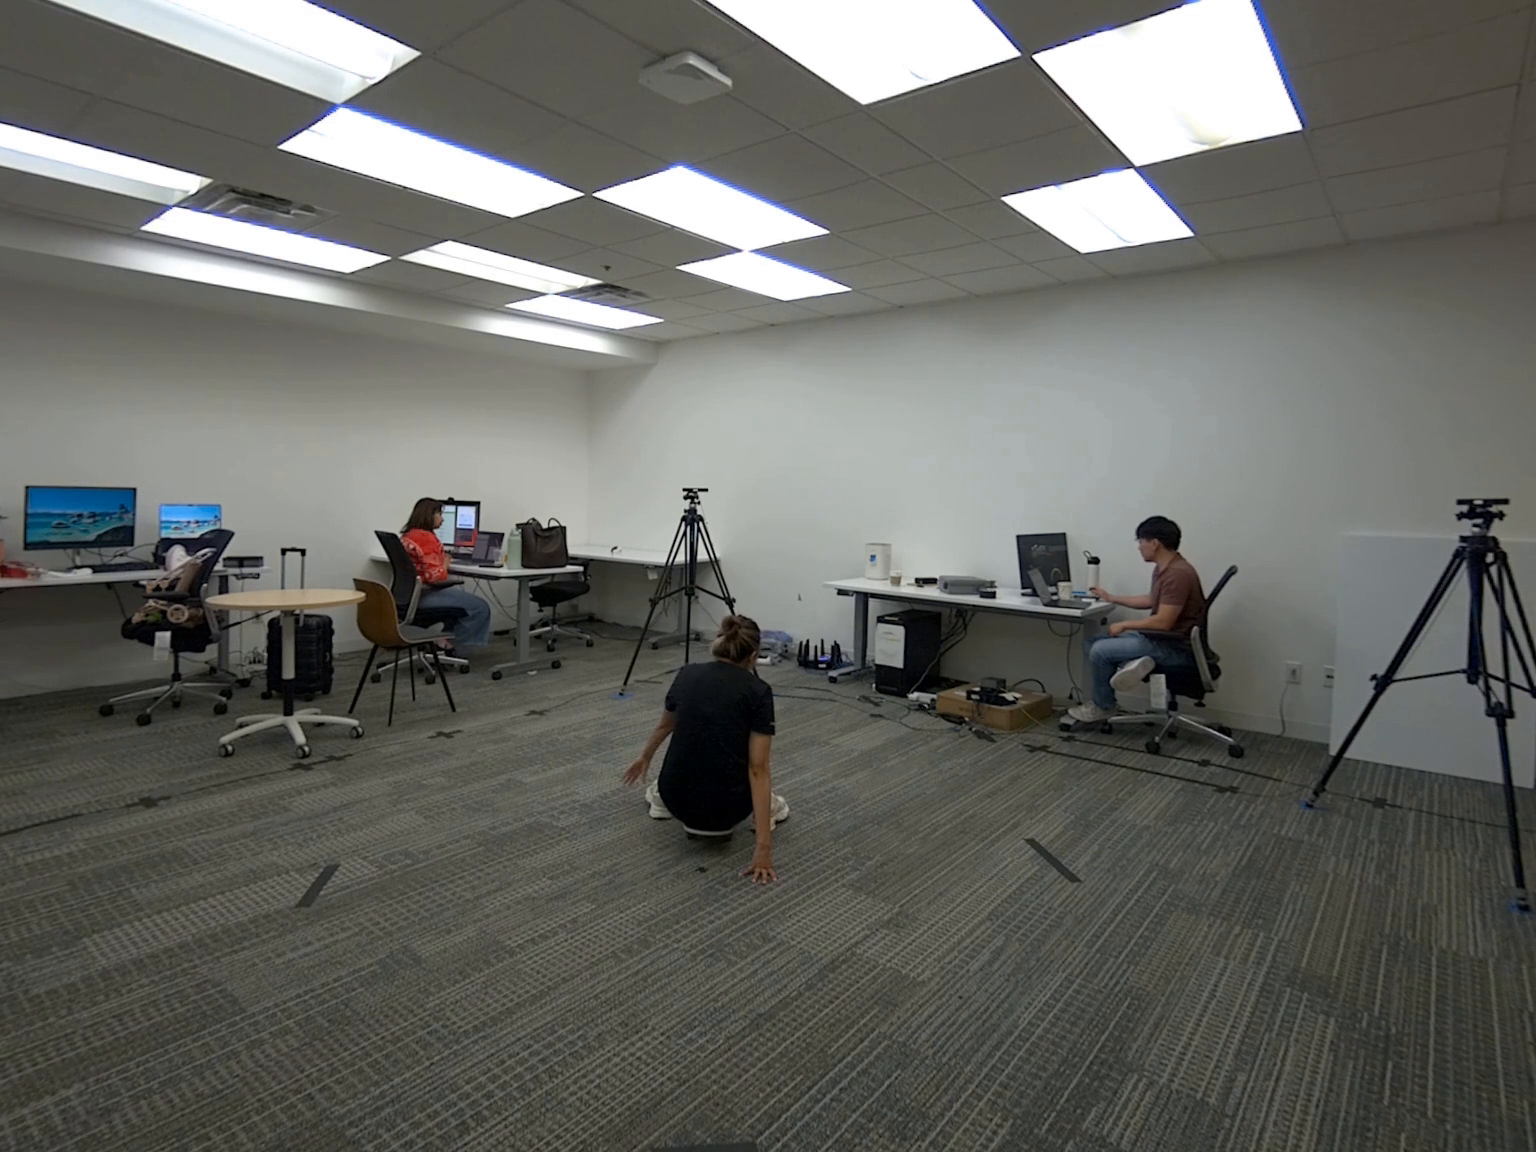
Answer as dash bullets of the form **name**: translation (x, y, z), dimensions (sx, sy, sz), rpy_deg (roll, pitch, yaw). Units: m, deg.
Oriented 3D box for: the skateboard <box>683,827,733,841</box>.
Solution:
- **skateboard**: translation (-0.239, 0.961, 3.581), dimensions (0.194, 0.110, 0.786), rpy_deg (2, 6, 1)
